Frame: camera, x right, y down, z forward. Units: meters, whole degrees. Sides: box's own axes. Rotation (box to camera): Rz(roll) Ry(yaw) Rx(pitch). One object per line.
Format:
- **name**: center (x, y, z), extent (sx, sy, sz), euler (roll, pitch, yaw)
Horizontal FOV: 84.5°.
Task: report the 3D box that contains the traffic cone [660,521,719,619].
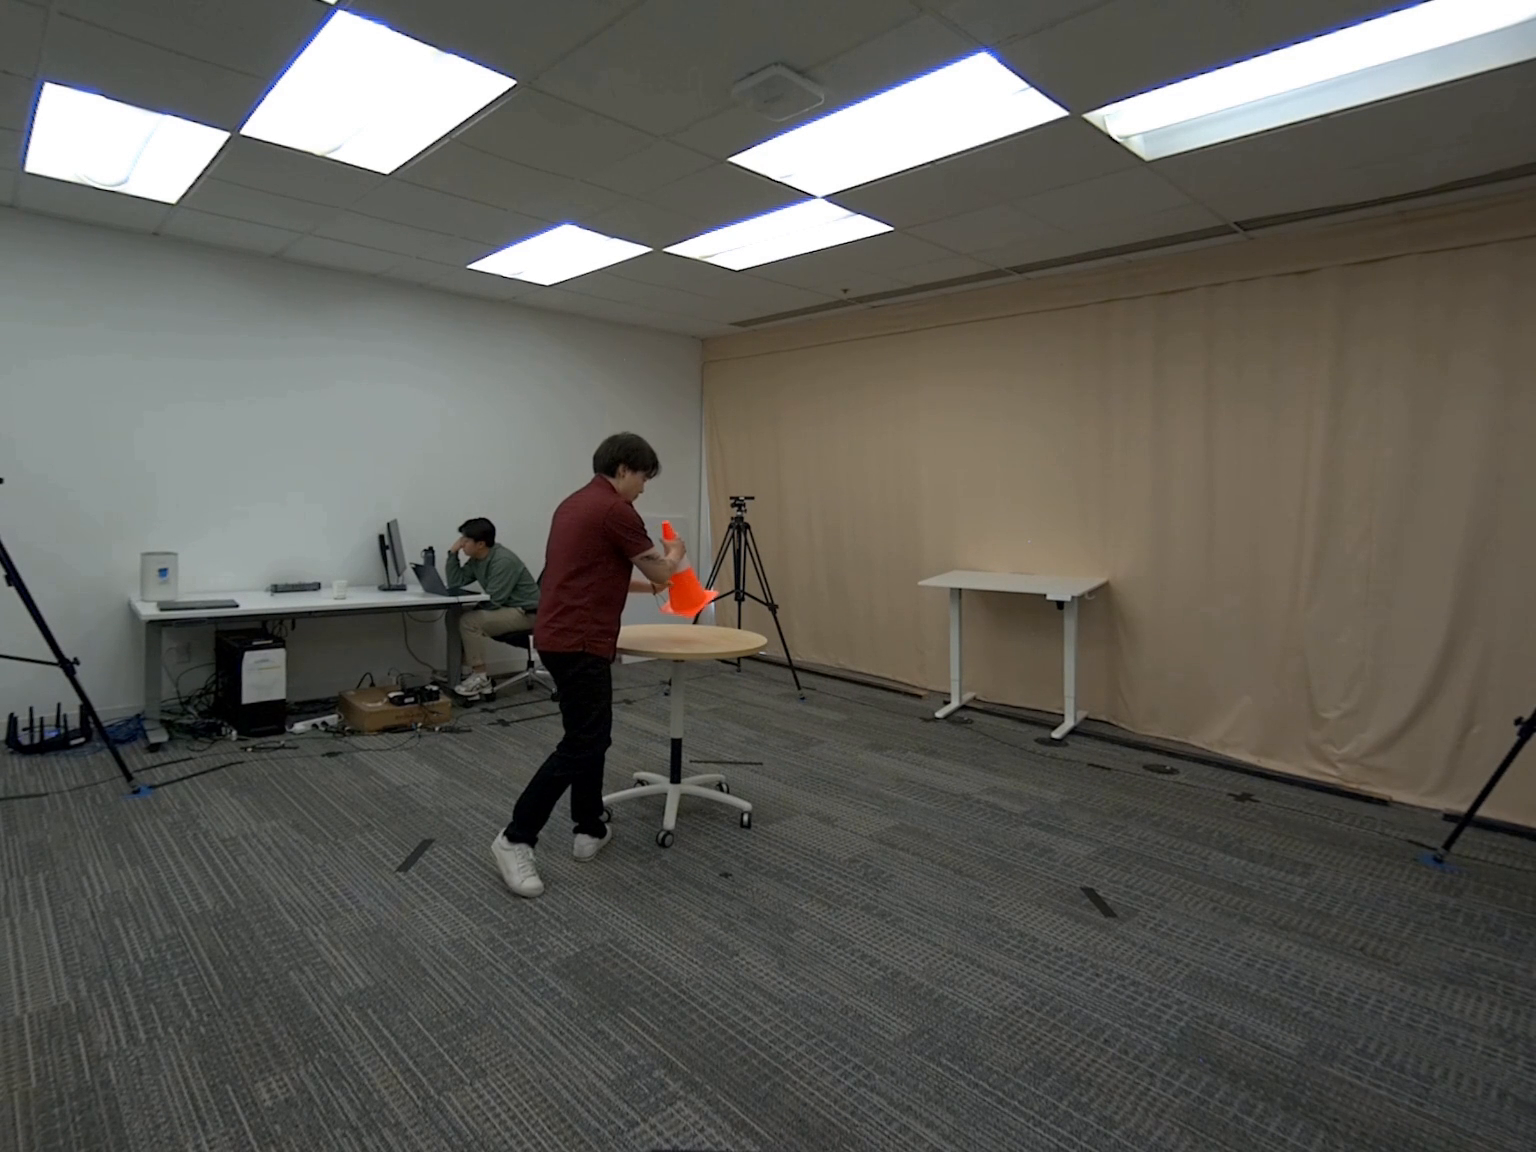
- **traffic cone**: center (-0.393, -0.052, 3.519), extent (0.205, 0.376, 0.207), euler (-7, 24, 13)
